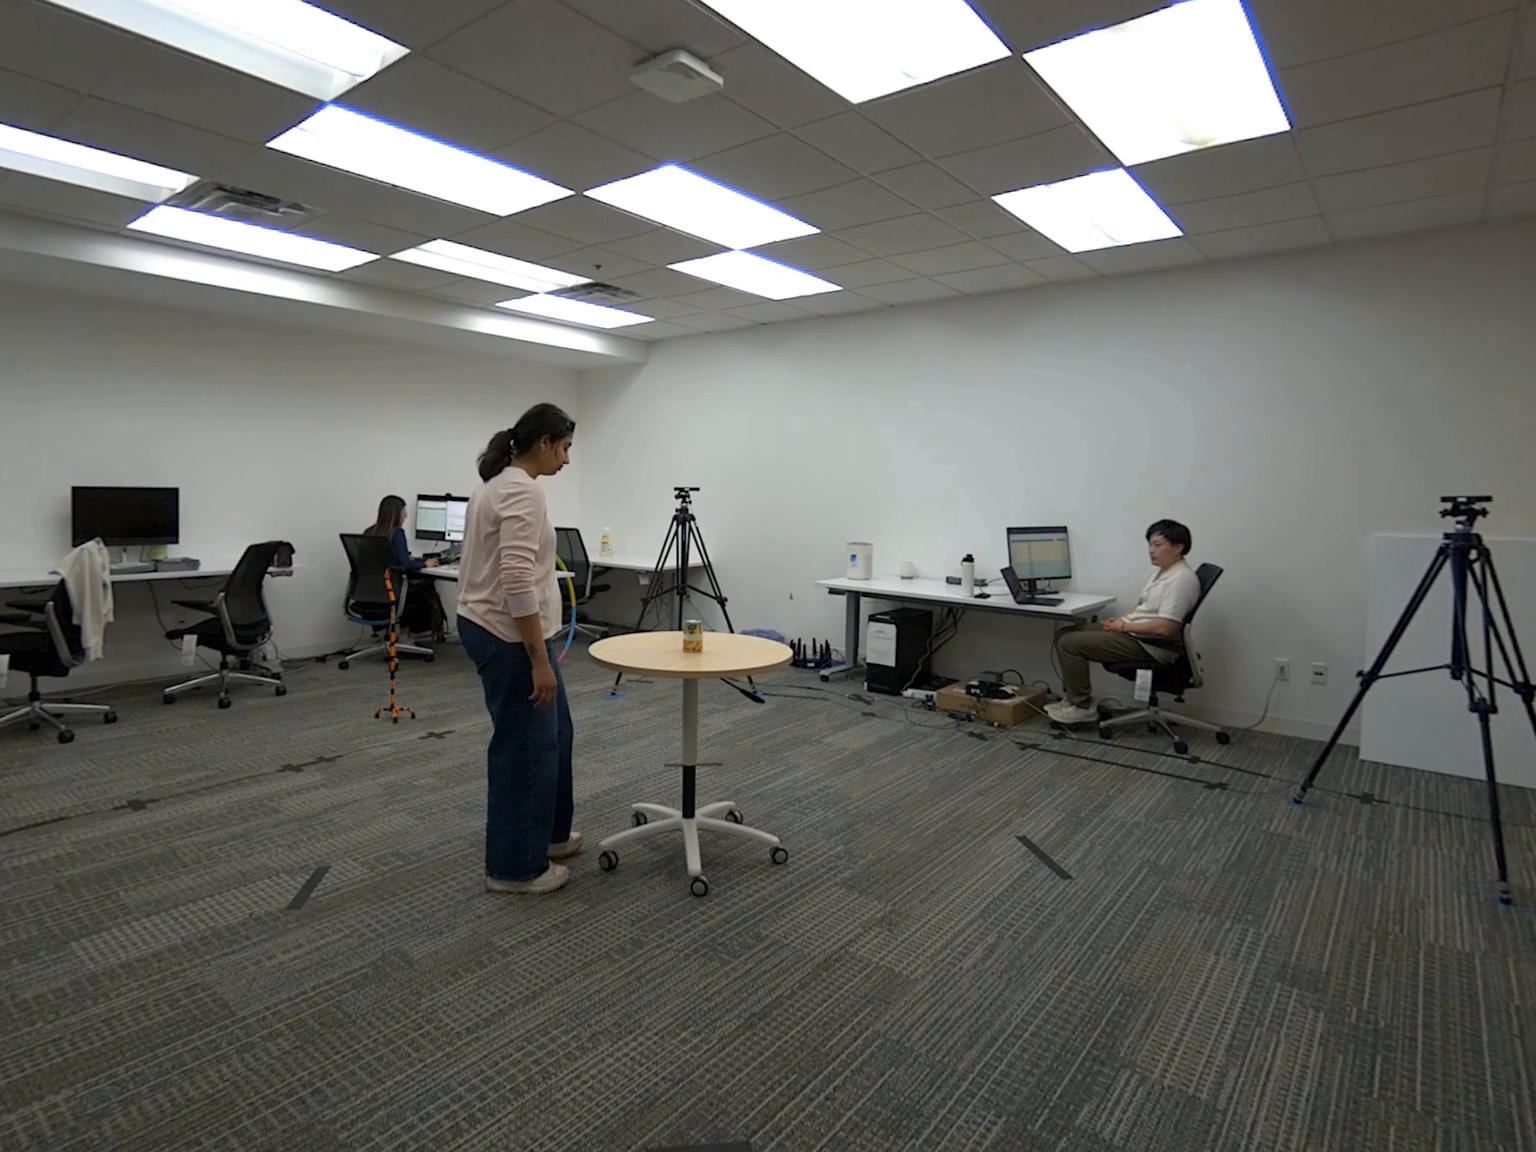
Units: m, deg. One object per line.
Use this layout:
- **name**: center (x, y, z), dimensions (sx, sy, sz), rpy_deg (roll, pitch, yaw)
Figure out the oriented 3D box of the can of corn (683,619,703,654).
- **can of corn**: center (-0.290, 0.222, 3.154), dimensions (0.074, 0.110, 0.074), rpy_deg (2, 5, -2)
